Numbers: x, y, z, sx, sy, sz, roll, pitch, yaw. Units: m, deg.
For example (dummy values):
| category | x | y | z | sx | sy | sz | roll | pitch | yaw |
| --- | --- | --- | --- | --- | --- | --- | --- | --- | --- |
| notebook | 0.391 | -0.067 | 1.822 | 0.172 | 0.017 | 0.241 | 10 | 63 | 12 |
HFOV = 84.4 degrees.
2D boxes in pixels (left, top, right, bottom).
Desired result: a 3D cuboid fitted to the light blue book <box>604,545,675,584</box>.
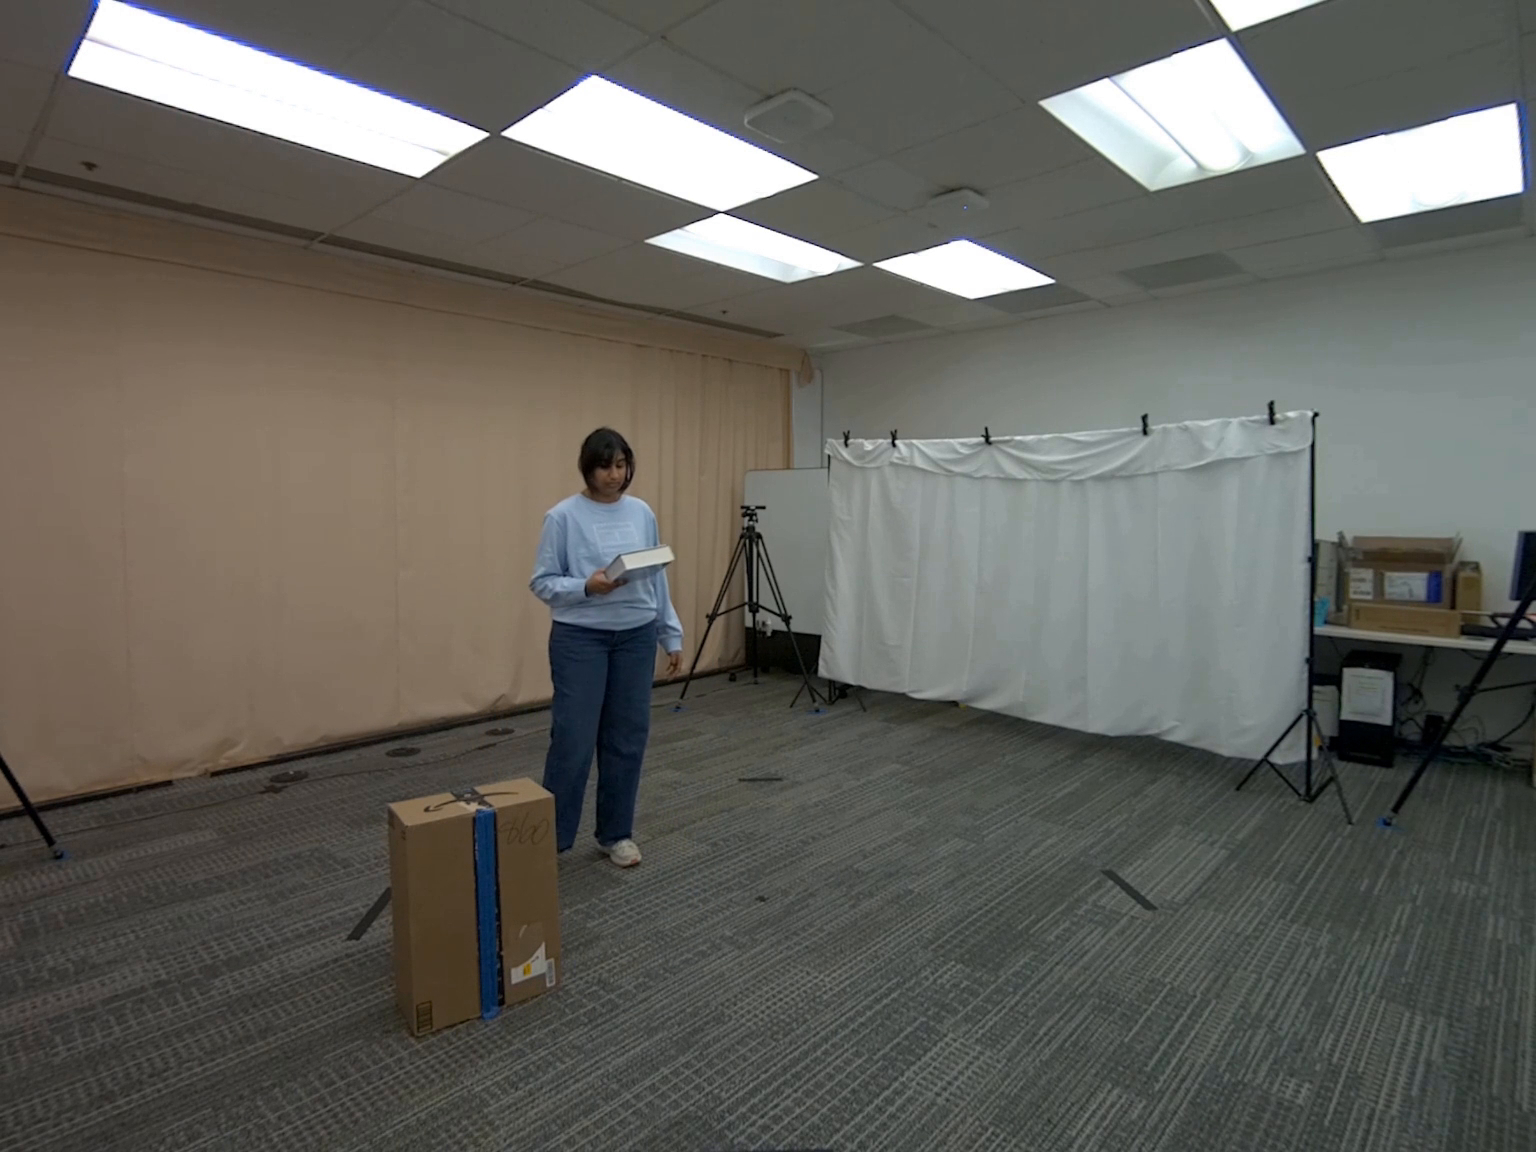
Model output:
| category | x | y | z | sx | sy | sz | roll | pitch | yaw |
| --- | --- | --- | --- | --- | --- | --- | --- | --- | --- |
| light blue book | -0.499 | -0.034 | 3.021 | 0.187 | 0.059 | 0.265 | -13 | -8 | -28 |
